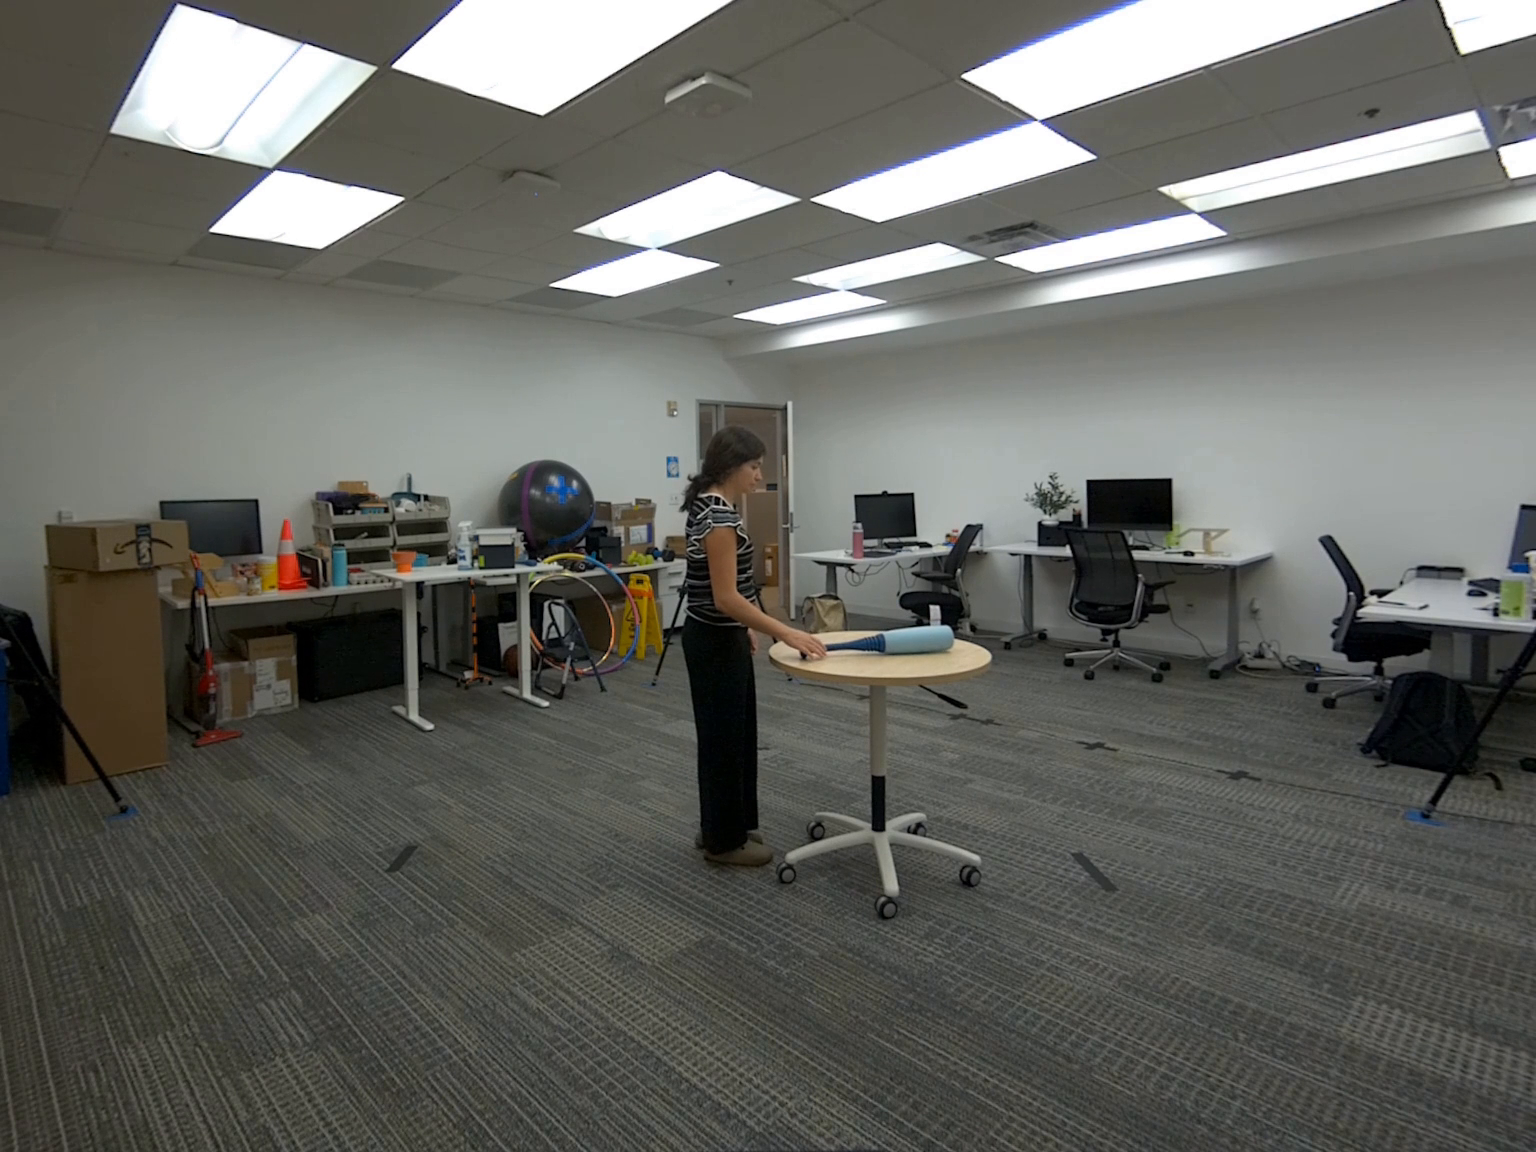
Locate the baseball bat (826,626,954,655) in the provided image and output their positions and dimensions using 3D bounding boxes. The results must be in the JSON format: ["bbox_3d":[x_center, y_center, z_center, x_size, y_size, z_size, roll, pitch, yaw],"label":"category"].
[{"bbox_3d":[0.375,0.232,2.955,0.540,0.089,0.090,-4,5,-7],"label":"baseball bat"}]
